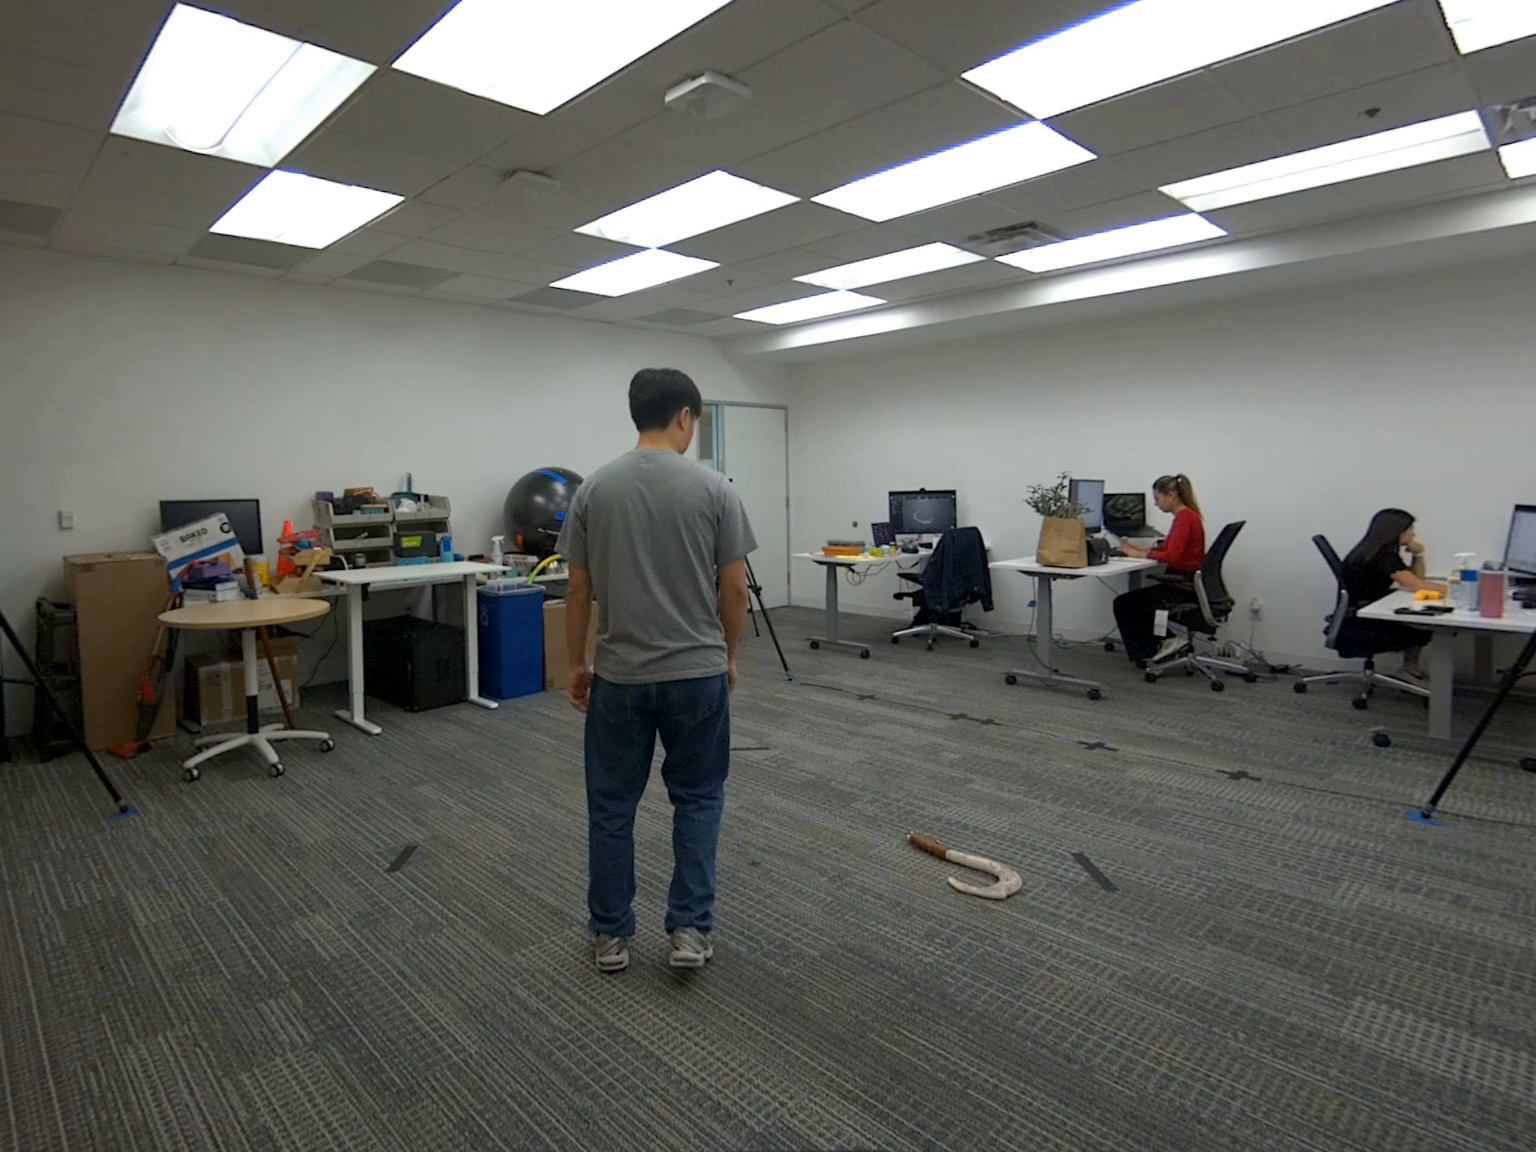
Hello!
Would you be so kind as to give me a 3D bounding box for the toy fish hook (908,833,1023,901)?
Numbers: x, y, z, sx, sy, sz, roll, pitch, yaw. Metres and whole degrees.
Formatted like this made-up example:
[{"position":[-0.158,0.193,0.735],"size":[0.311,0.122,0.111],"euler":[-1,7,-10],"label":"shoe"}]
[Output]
[{"position":[0.654,1.018,3.029],"size":[0.219,0.048,0.522],"euler":[-5,7,-36],"label":"toy fish hook"}]
